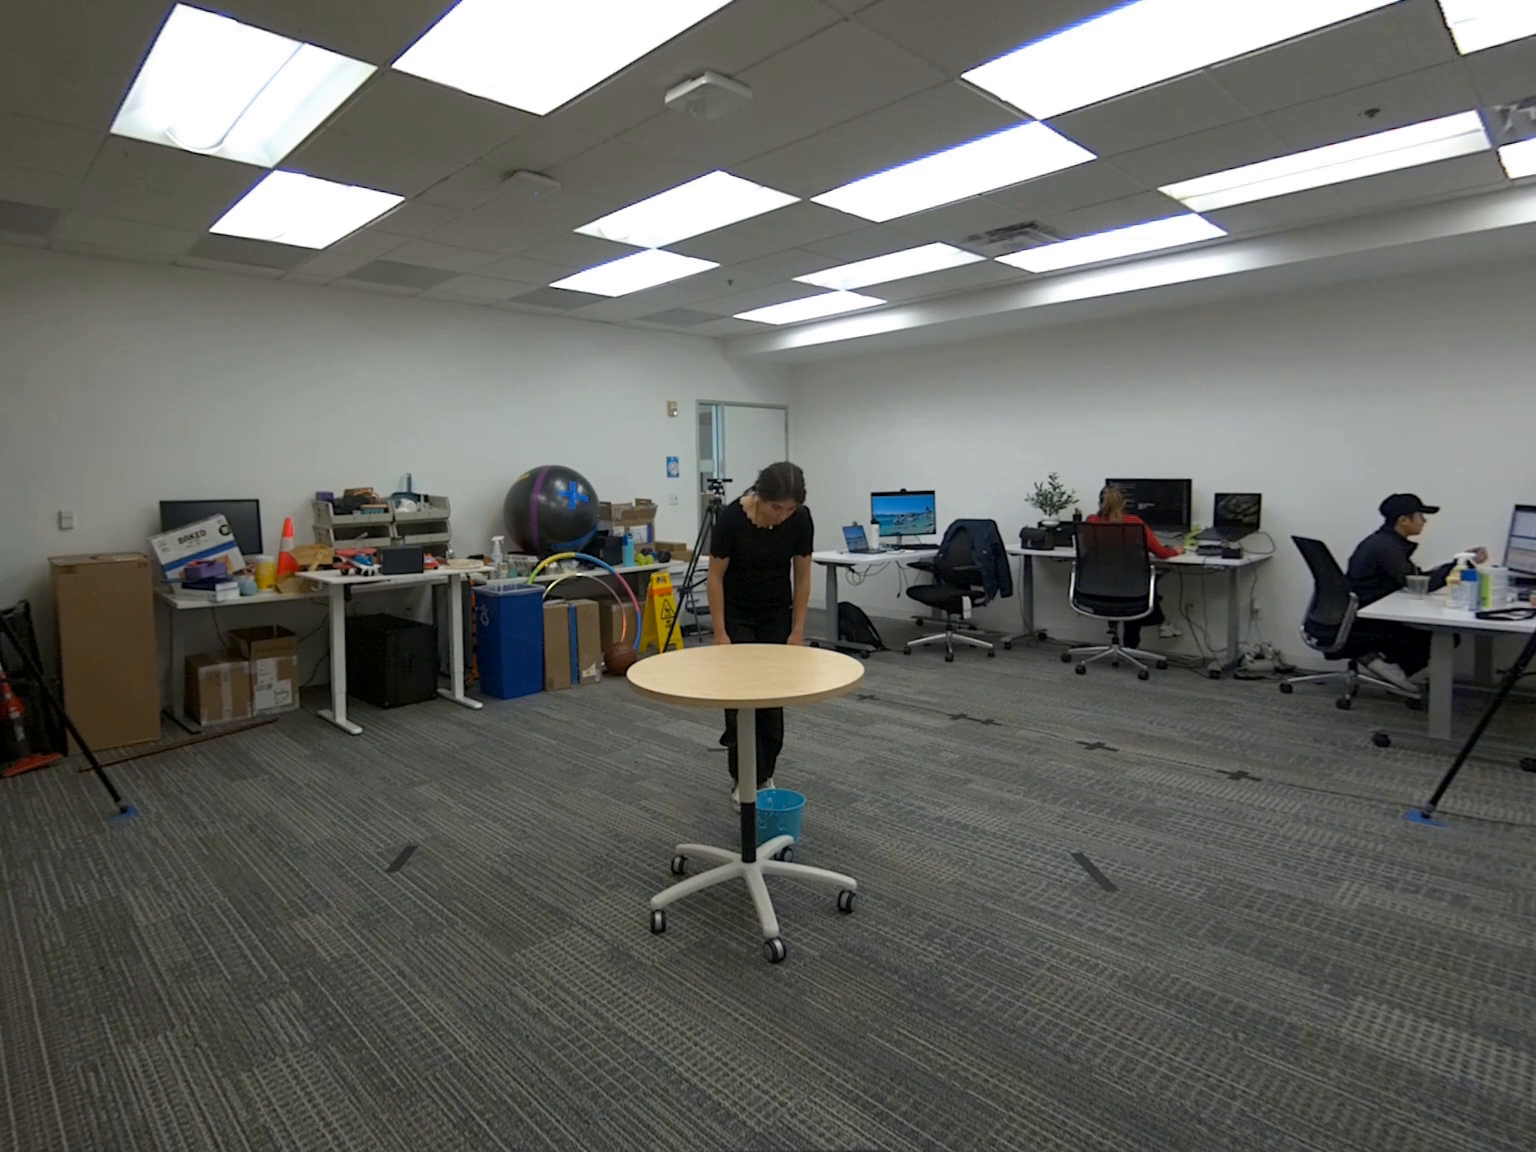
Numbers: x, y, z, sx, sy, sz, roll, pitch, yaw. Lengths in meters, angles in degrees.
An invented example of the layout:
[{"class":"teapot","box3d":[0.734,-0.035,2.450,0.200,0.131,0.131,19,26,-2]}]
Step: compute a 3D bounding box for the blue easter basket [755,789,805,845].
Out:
[{"class":"blue easter basket","box3d":[0.029,0.943,3.334,0.243,0.155,0.245,-1,6,-2]}]
